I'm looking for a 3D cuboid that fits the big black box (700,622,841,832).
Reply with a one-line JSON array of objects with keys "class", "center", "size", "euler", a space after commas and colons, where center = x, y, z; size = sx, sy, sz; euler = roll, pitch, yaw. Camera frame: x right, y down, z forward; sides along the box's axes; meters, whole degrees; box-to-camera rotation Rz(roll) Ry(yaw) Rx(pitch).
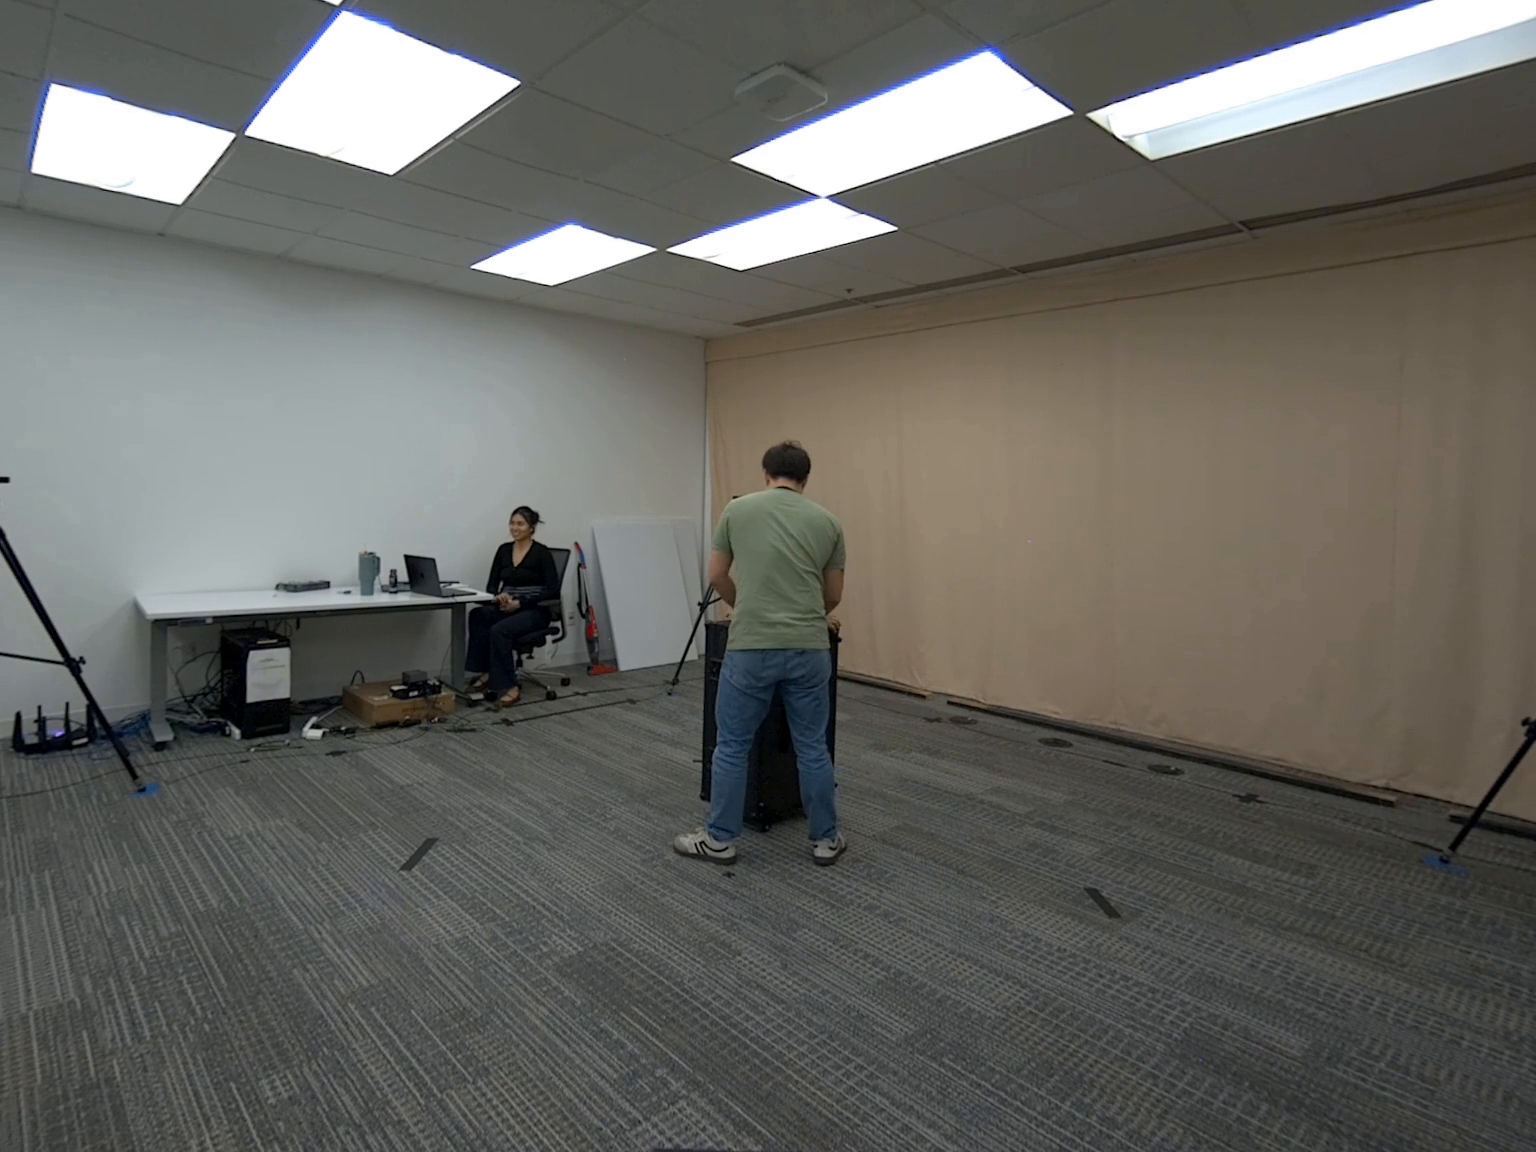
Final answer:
[{"class": "big black box", "center": [0.013, 0.631, 3.703], "size": [0.509, 0.859, 0.406], "euler": [-2, 5, -43]}]
